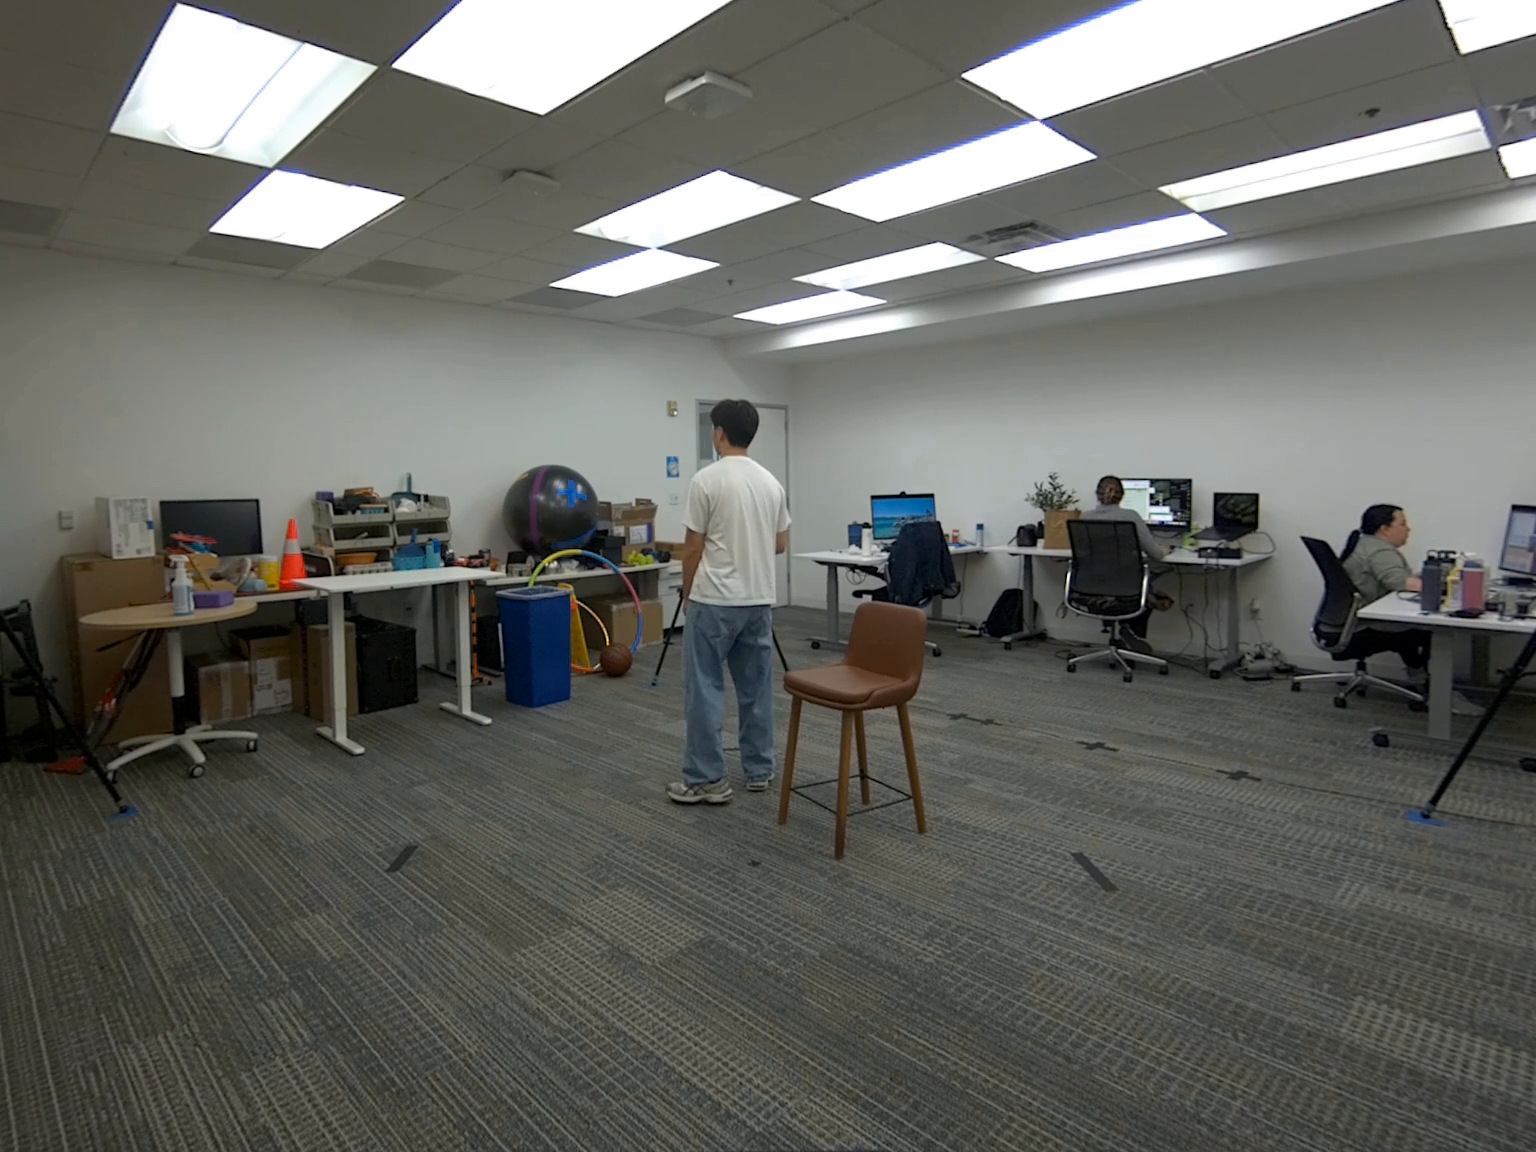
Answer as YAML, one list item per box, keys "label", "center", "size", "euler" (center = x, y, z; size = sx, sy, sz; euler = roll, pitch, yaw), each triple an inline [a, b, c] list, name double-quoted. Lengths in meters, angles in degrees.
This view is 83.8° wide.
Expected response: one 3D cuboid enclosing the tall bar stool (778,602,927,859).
- label: "tall bar stool"
  center: [0.337, 0.570, 3.386]
  size: [0.456, 0.887, 0.469]
  euler: [-1, 4, -32]
